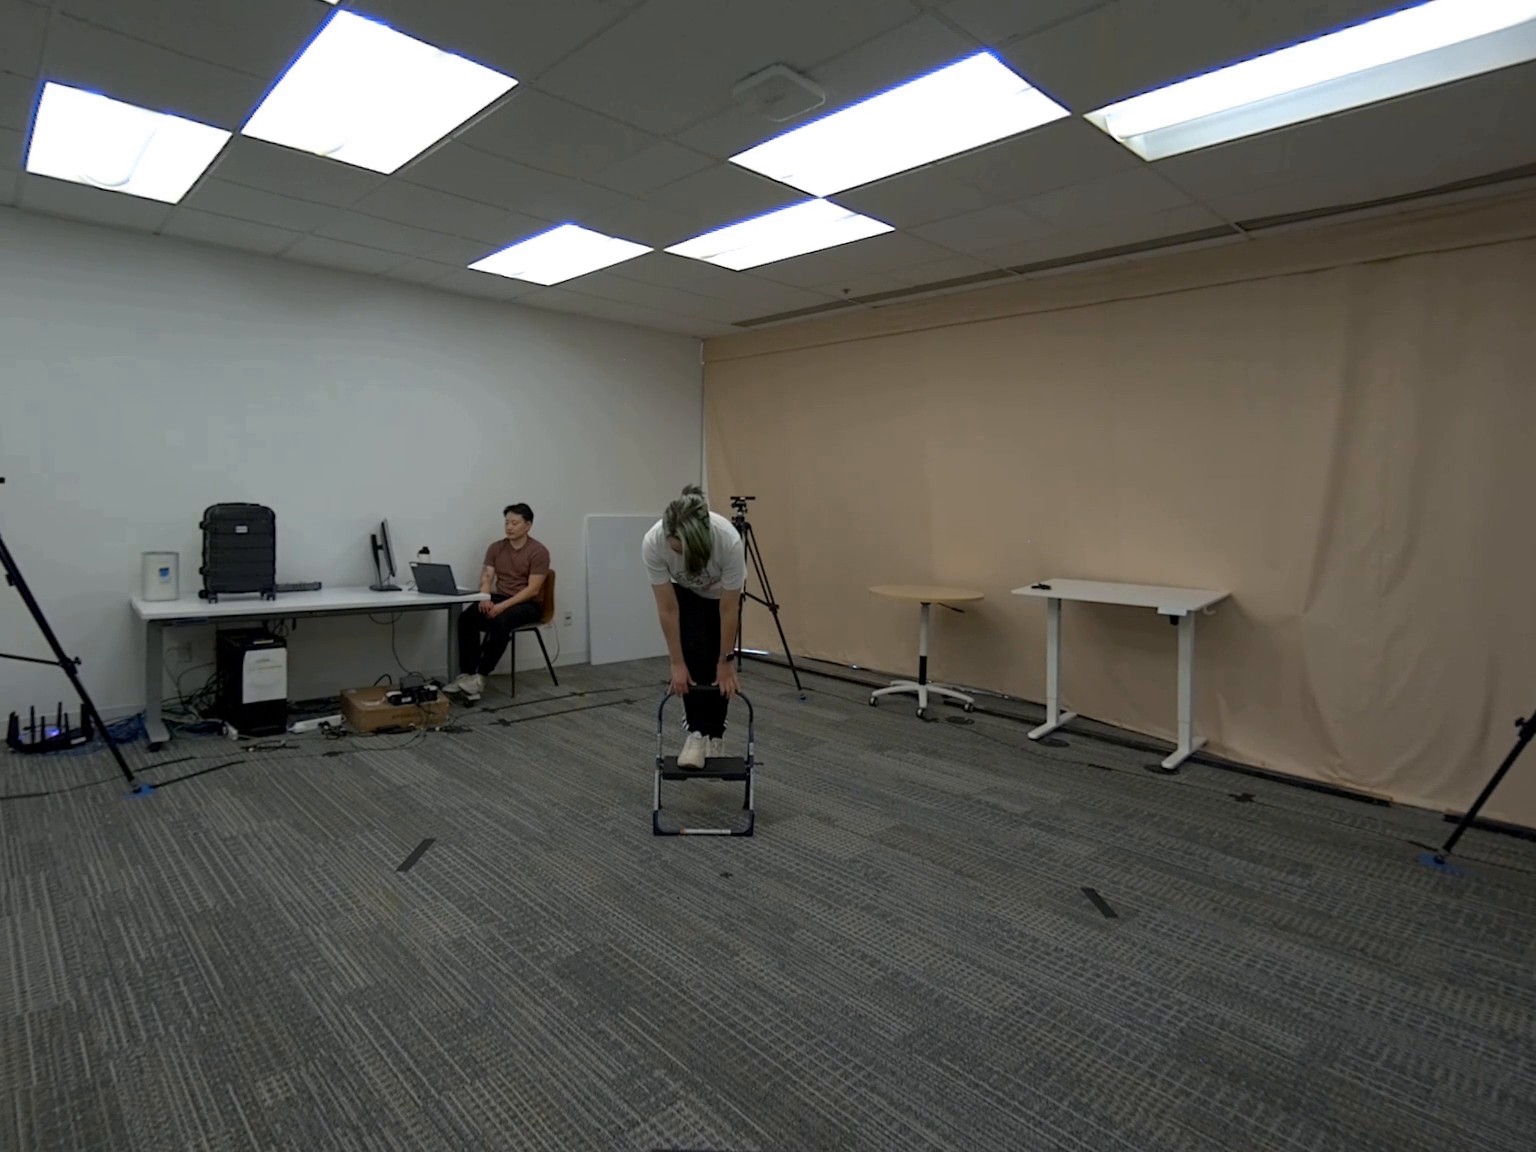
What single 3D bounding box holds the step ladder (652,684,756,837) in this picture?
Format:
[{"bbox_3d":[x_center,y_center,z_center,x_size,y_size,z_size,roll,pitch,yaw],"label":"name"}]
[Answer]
[{"bbox_3d":[-0.280,0.759,3.615,0.429,0.605,0.351,2,3,-4],"label":"step ladder"}]
